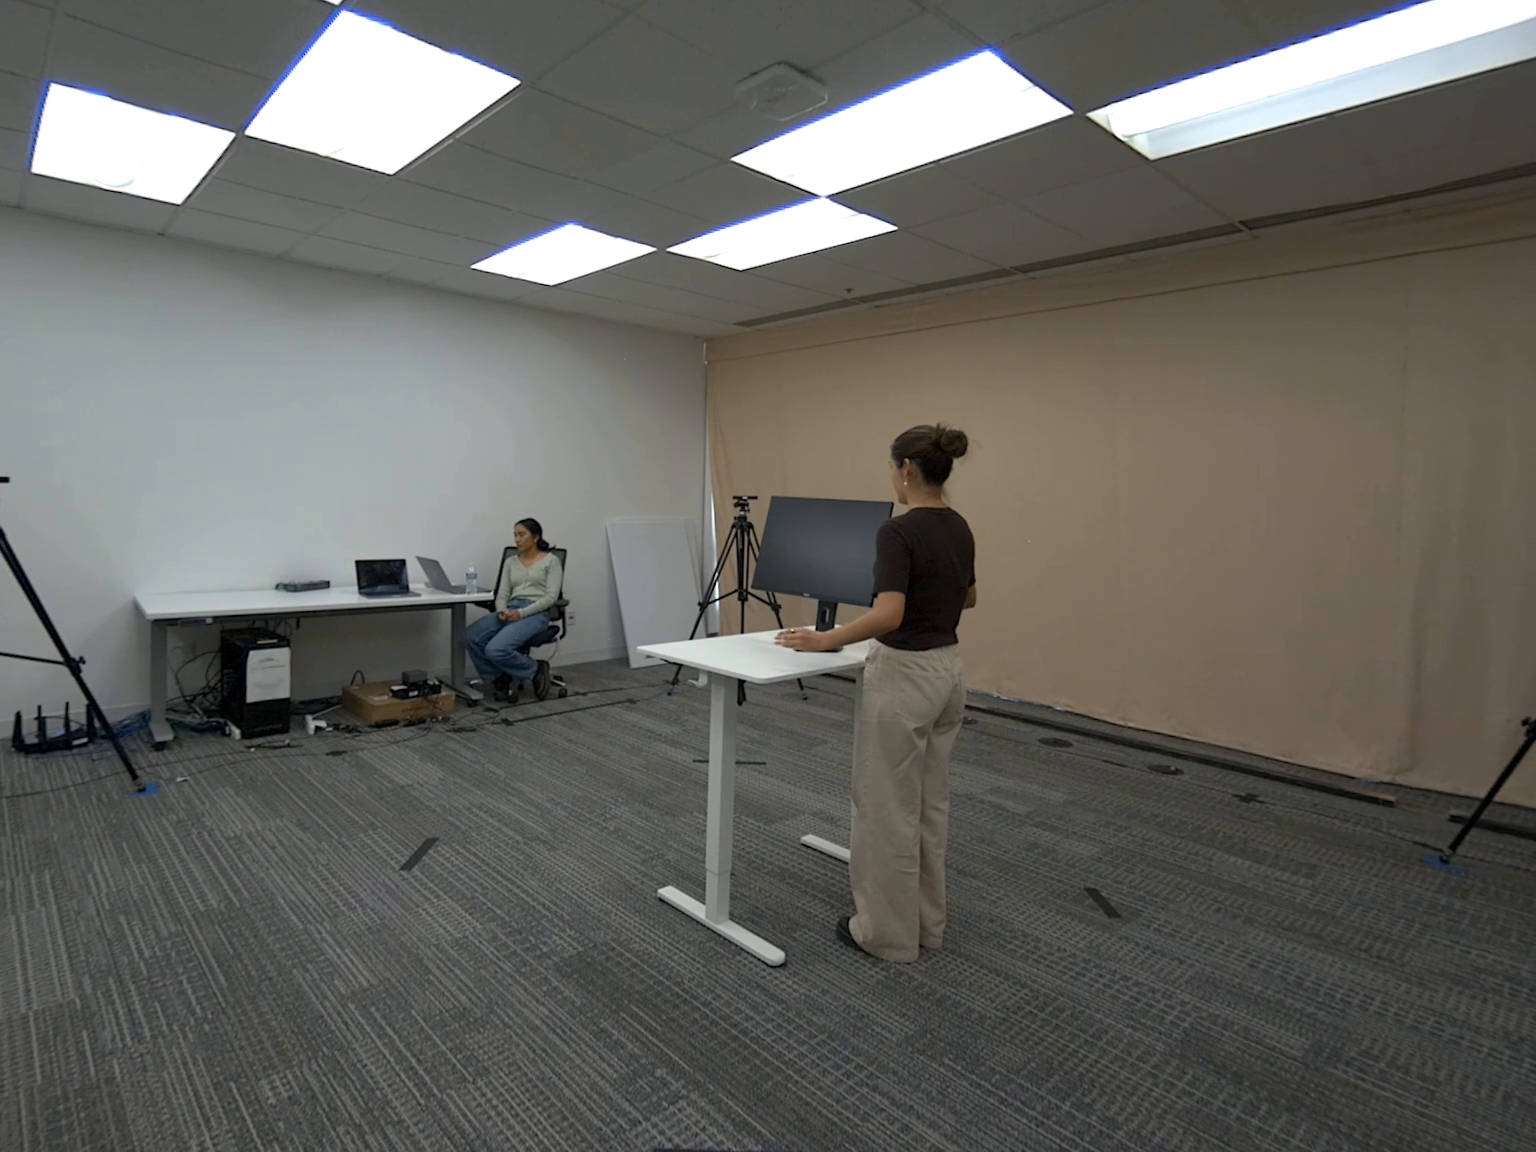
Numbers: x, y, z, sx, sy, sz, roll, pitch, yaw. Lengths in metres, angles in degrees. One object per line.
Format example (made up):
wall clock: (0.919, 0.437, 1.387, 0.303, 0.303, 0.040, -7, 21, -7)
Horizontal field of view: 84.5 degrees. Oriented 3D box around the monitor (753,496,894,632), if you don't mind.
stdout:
monitor: (0.188, -0.008, 2.917, 0.553, 0.520, 0.183, 8, 8, 40)
